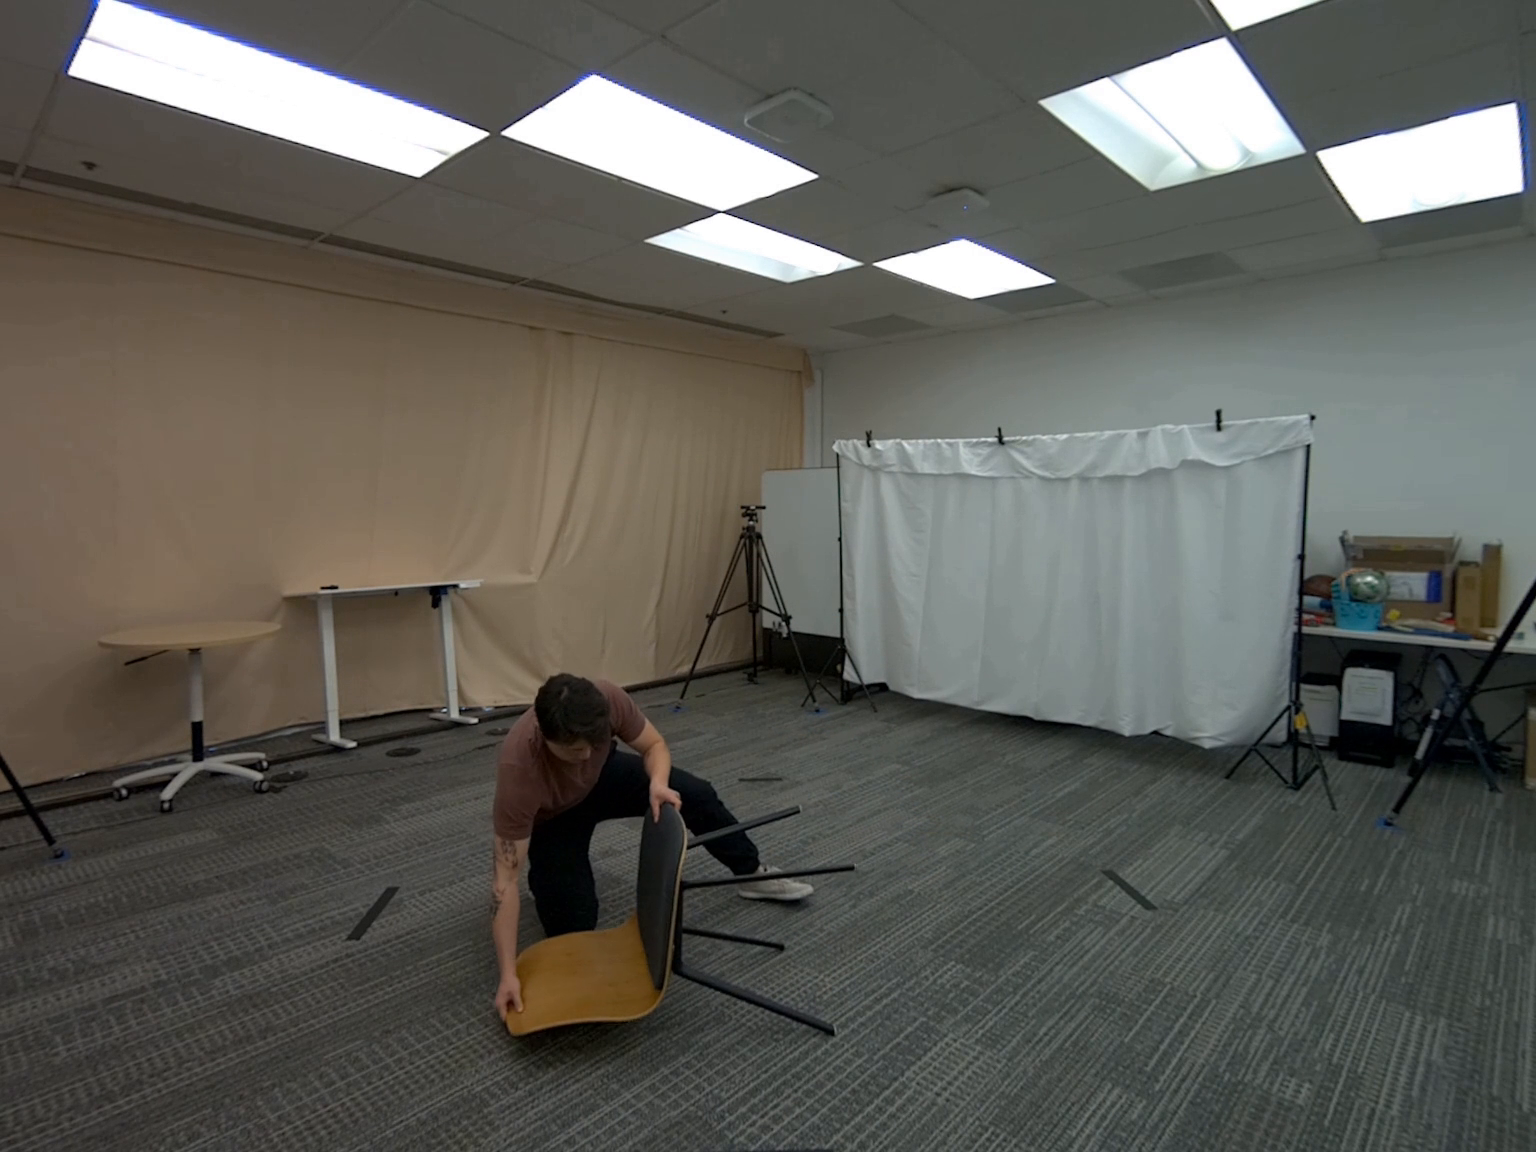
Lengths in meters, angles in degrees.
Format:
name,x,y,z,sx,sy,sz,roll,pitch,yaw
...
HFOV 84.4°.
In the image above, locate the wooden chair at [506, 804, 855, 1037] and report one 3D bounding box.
name,x,y,z,sx,sy,sz,roll,pitch,yaw
wooden chair,-0.265,0.913,2.327,0.864,0.522,0.486,1,4,-14
